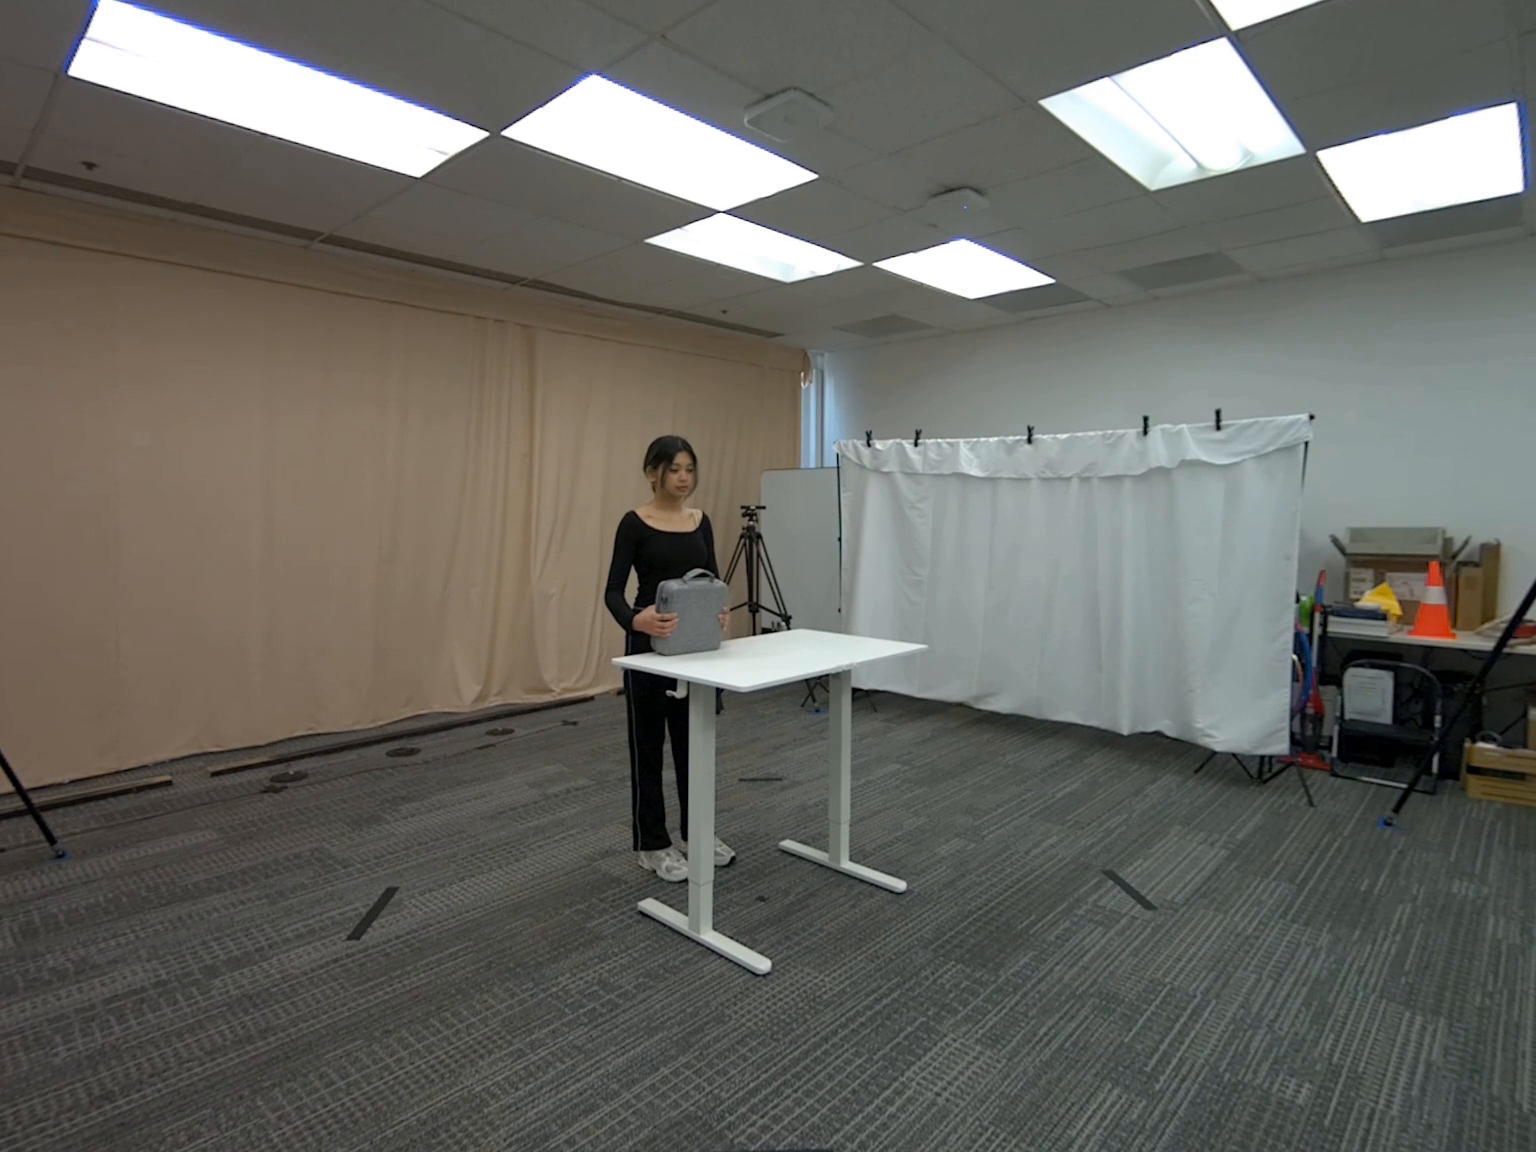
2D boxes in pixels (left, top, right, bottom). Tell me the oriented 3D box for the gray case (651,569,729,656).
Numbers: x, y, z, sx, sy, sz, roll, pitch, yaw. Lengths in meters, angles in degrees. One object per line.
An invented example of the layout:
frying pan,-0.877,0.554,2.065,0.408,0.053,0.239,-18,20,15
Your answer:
gray case,-0.265,0.136,2.905,0.249,0.259,0.108,-2,17,-39
